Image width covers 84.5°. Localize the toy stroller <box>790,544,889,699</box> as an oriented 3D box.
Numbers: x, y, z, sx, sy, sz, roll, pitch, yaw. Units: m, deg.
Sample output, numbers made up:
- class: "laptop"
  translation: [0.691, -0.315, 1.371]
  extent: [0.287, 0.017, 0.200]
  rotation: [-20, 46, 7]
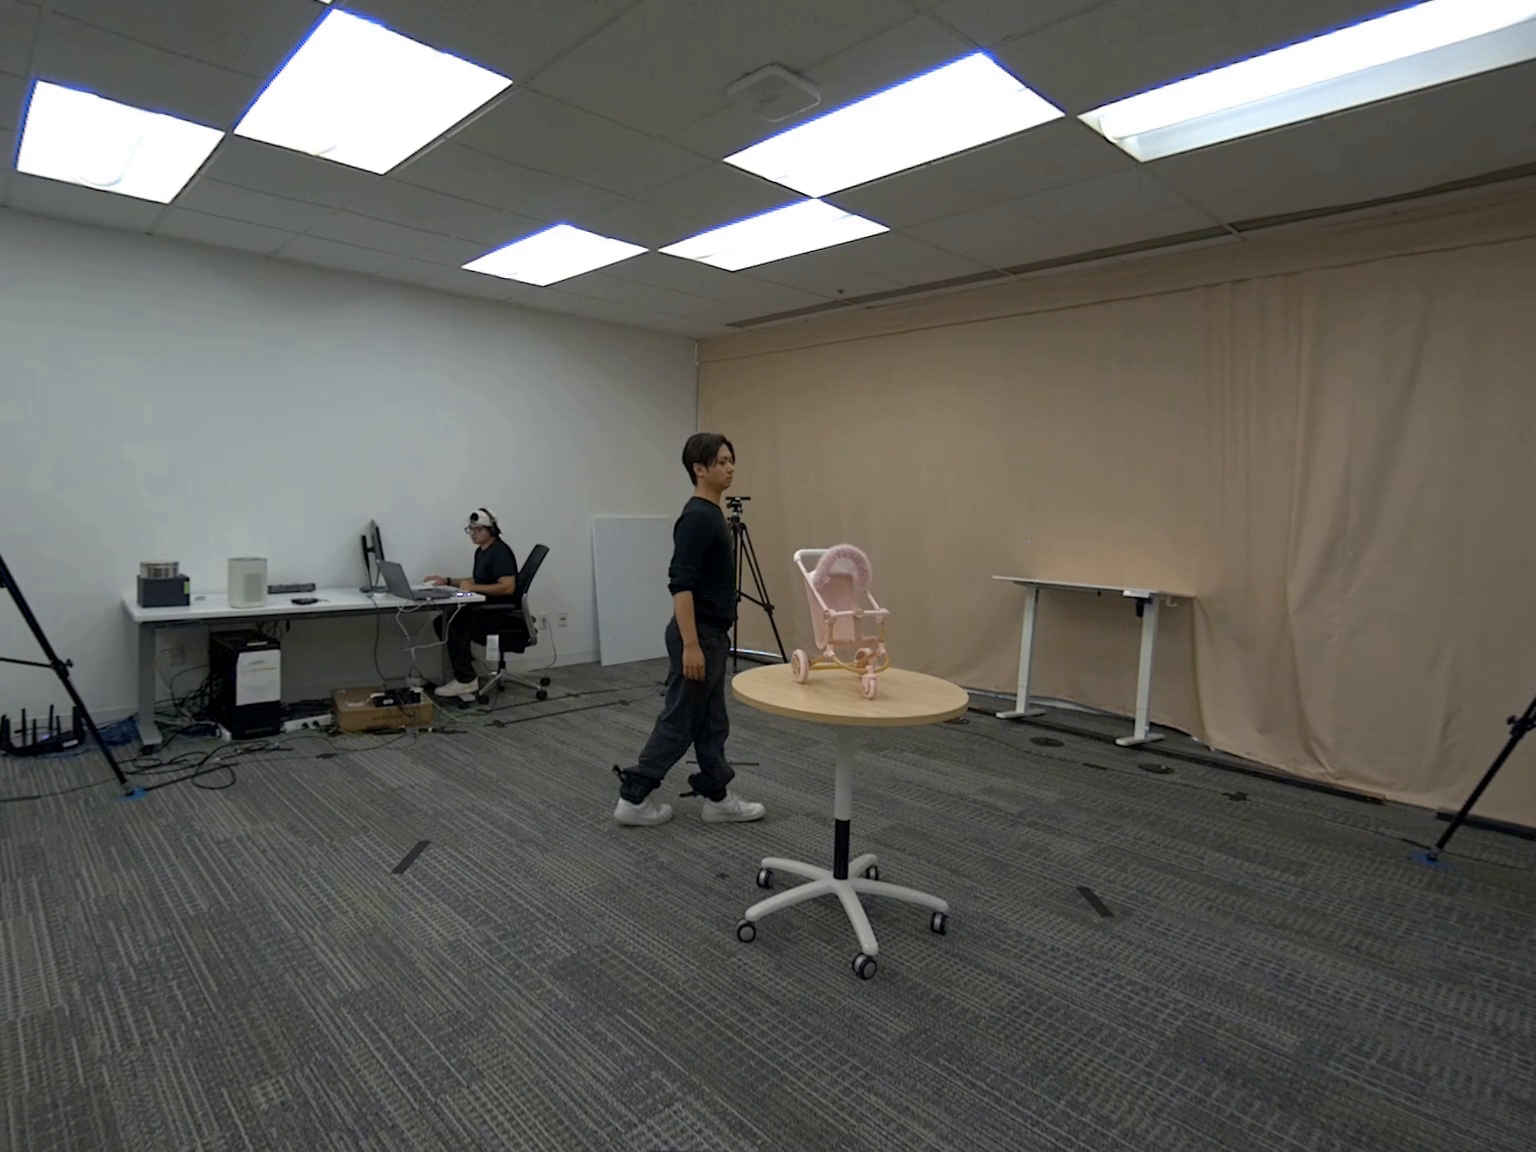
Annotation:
- class: "toy stroller"
  translation: [0.244, 0.139, 2.759]
  extent: [0.278, 0.540, 0.343]
  rotation: [1, -12, -18]
